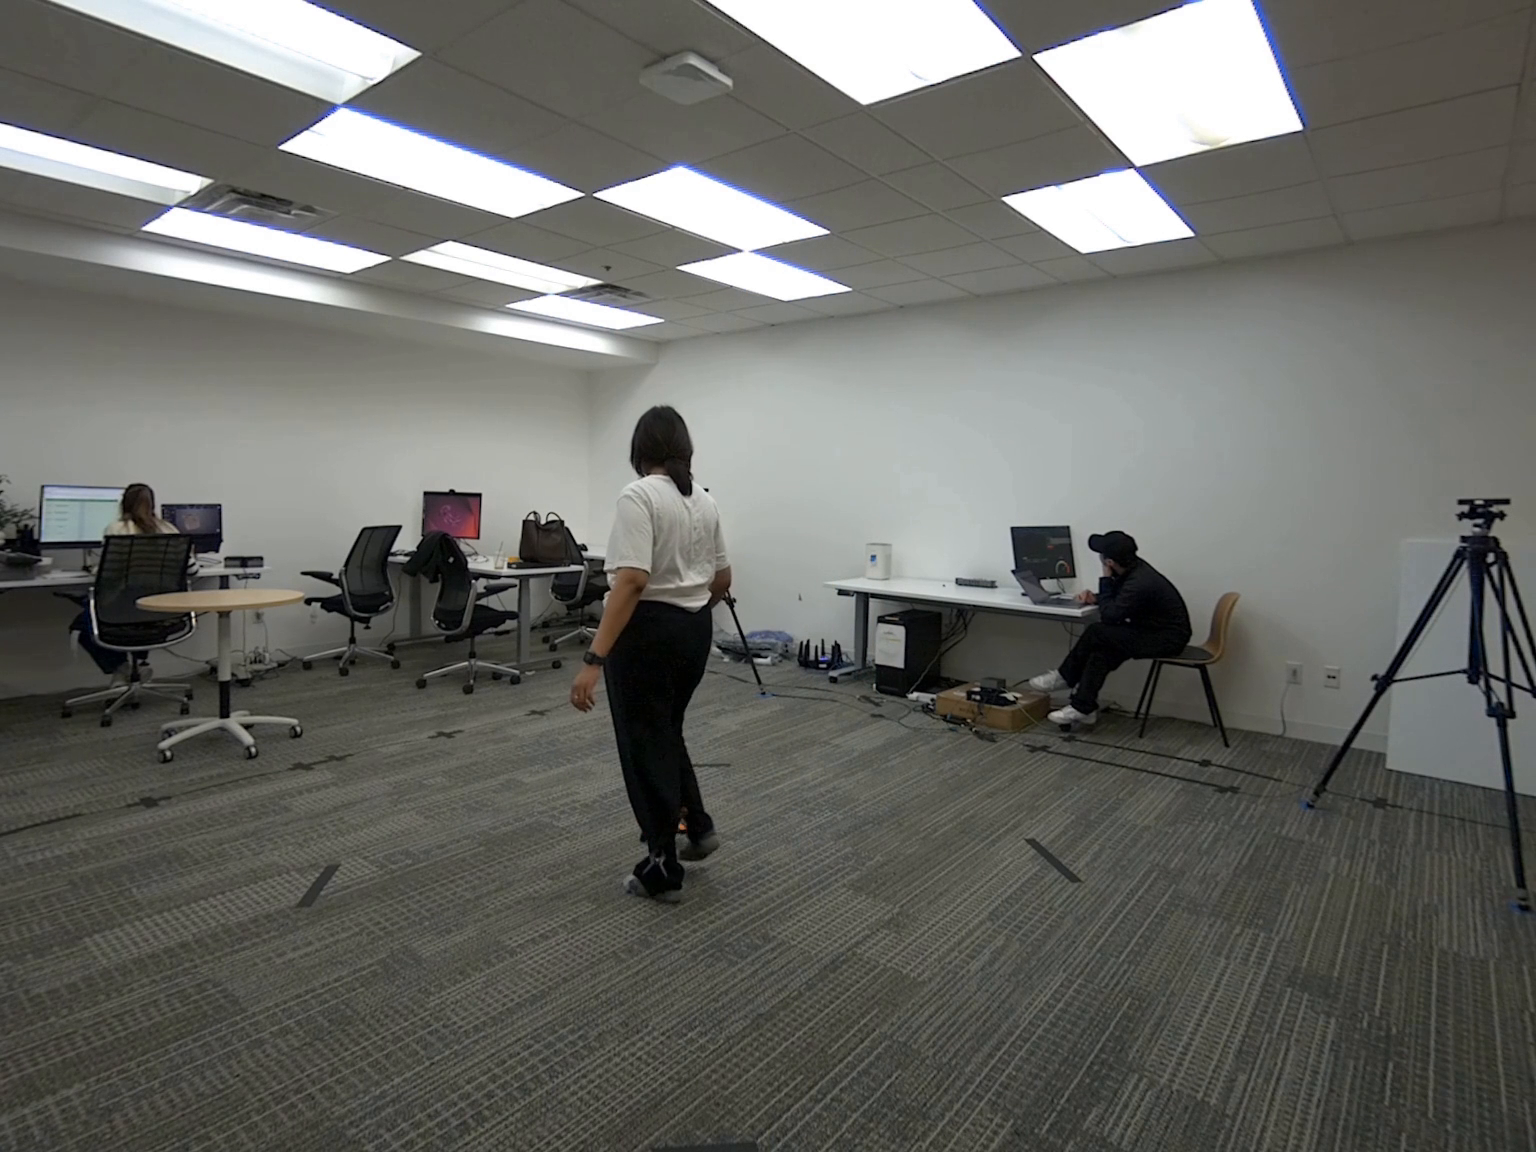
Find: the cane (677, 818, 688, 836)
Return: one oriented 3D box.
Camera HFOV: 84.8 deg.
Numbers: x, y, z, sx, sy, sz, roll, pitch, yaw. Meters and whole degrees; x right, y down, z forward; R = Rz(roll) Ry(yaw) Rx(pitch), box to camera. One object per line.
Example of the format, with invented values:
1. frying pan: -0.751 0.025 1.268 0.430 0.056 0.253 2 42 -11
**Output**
1. cane: -0.385 0.586 3.316 0.201 0.905 0.156 -2 3 -31
